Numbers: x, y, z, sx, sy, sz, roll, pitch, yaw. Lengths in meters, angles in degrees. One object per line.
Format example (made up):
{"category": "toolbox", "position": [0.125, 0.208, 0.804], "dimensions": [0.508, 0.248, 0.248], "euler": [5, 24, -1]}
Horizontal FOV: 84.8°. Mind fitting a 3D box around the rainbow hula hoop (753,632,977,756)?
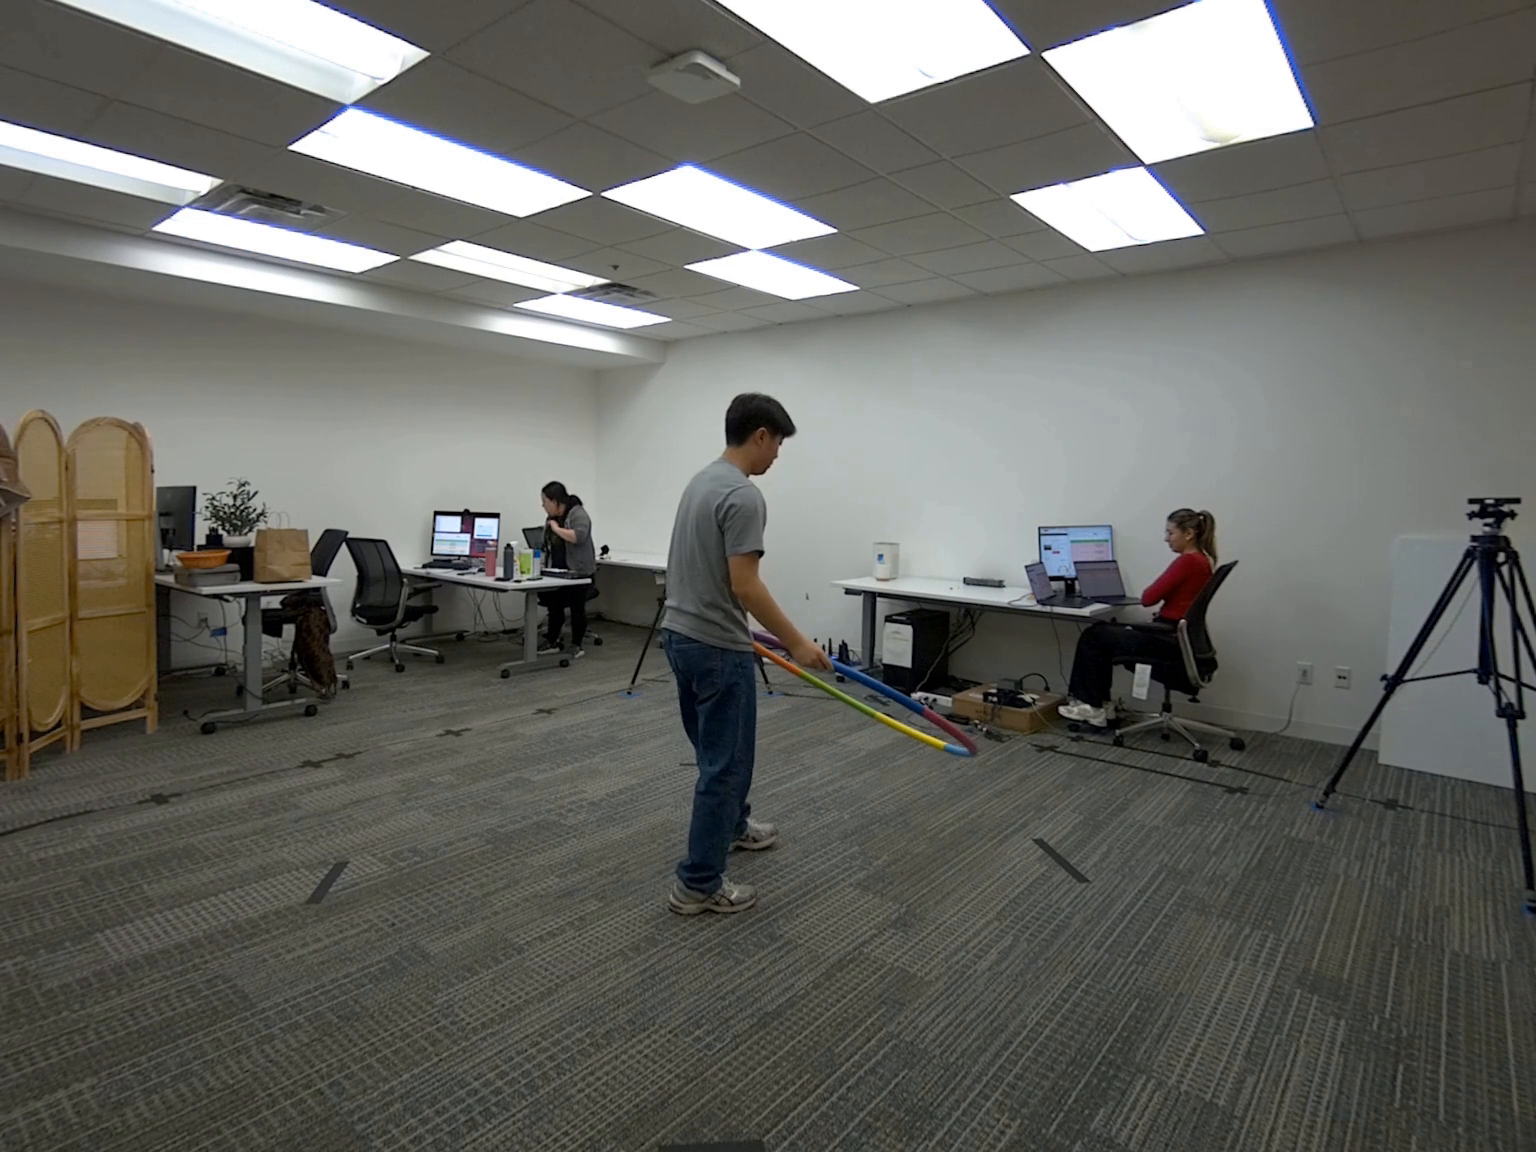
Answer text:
{"category": "rainbow hula hoop", "position": [0.283, 0.417, 3.114], "dimensions": [0.985, 0.035, 0.970], "euler": [28, -9, 3]}
